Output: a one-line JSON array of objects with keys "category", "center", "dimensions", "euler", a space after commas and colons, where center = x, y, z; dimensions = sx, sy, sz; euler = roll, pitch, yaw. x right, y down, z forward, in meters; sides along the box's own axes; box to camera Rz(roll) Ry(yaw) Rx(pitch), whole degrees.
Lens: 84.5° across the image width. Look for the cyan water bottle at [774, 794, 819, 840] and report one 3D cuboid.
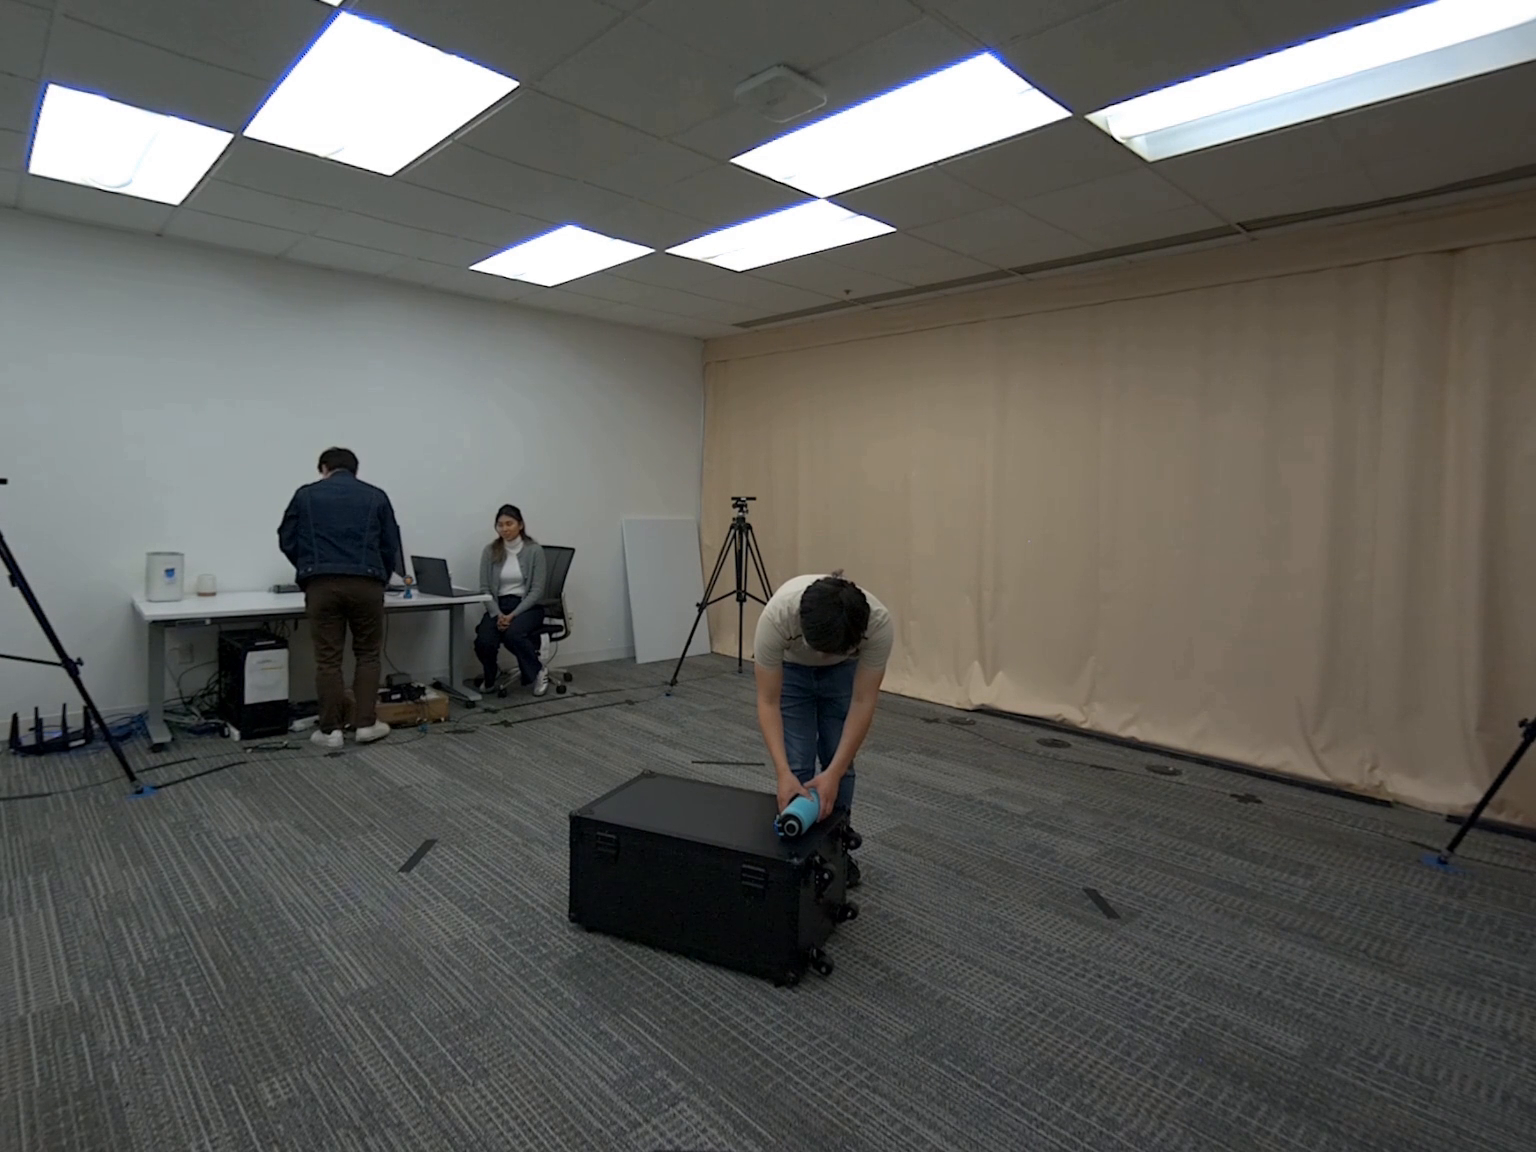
[{"category": "cyan water bottle", "center": [0.087, 0.741, 2.606], "dimensions": [0.094, 0.092, 0.280], "euler": [3, 5, 18]}]
